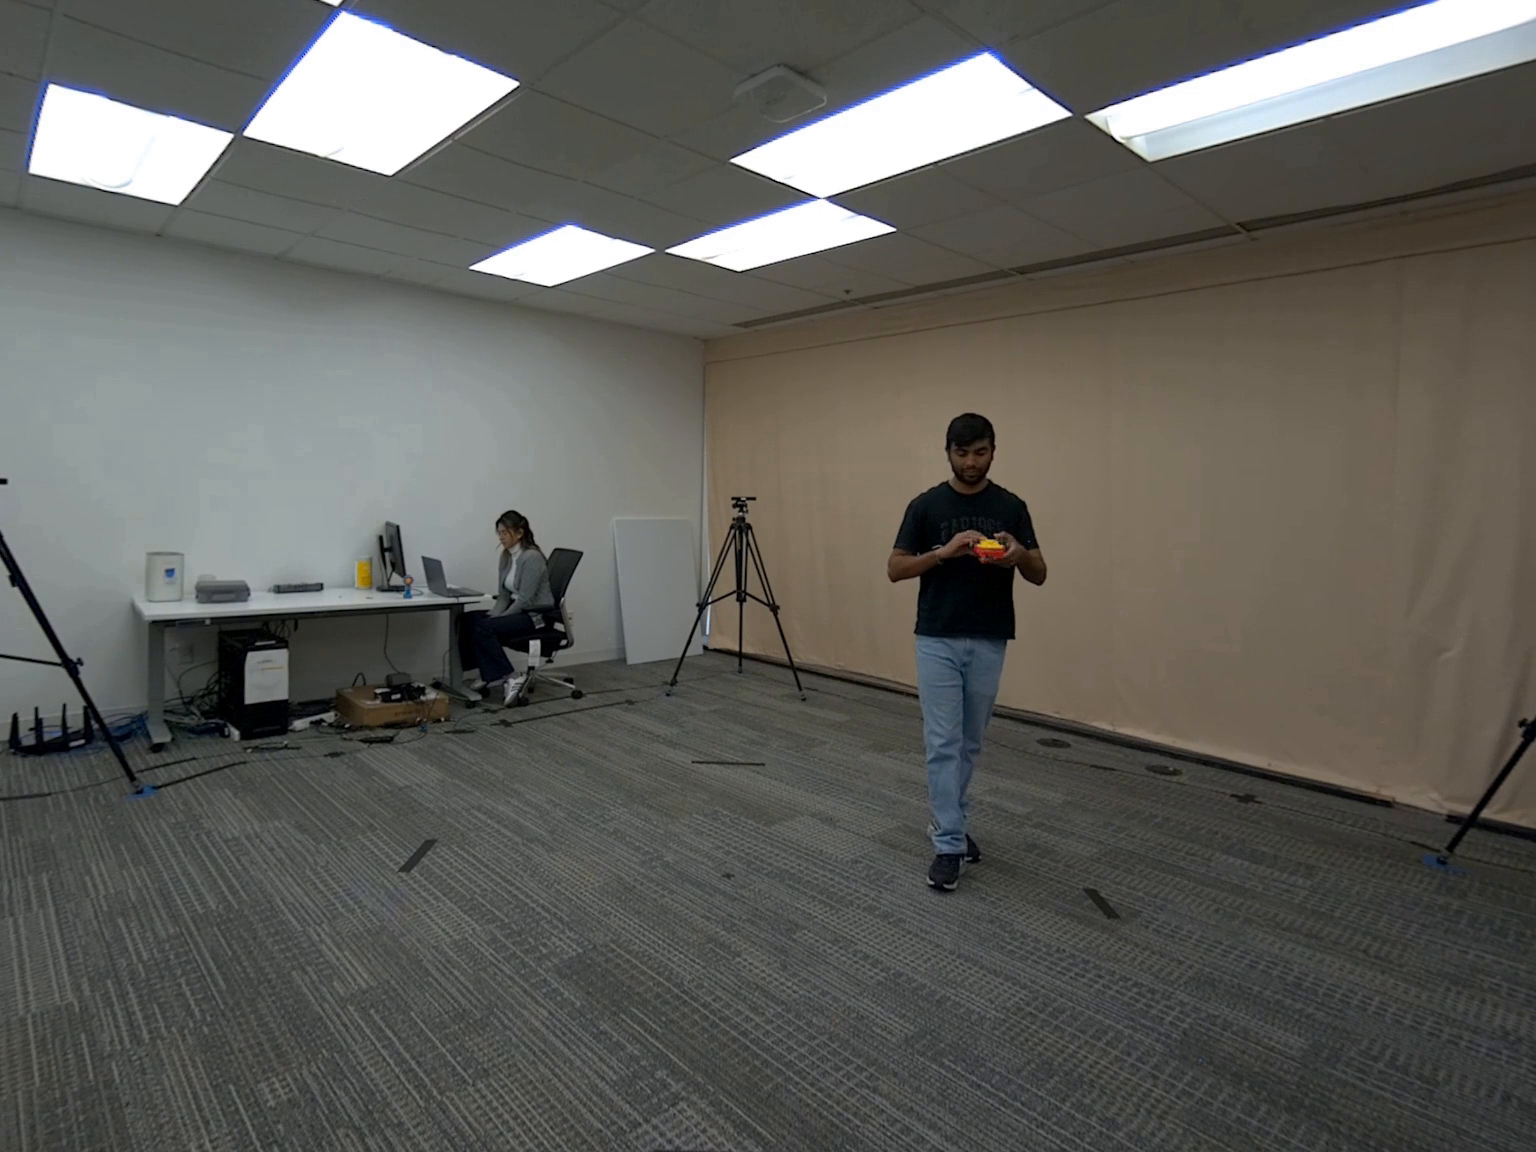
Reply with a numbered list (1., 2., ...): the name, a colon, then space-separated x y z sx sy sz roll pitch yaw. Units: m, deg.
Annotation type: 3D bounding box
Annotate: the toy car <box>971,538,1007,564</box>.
1. toy car: 0.772 -0.103 2.979 0.132 0.082 0.255 3 17 12
